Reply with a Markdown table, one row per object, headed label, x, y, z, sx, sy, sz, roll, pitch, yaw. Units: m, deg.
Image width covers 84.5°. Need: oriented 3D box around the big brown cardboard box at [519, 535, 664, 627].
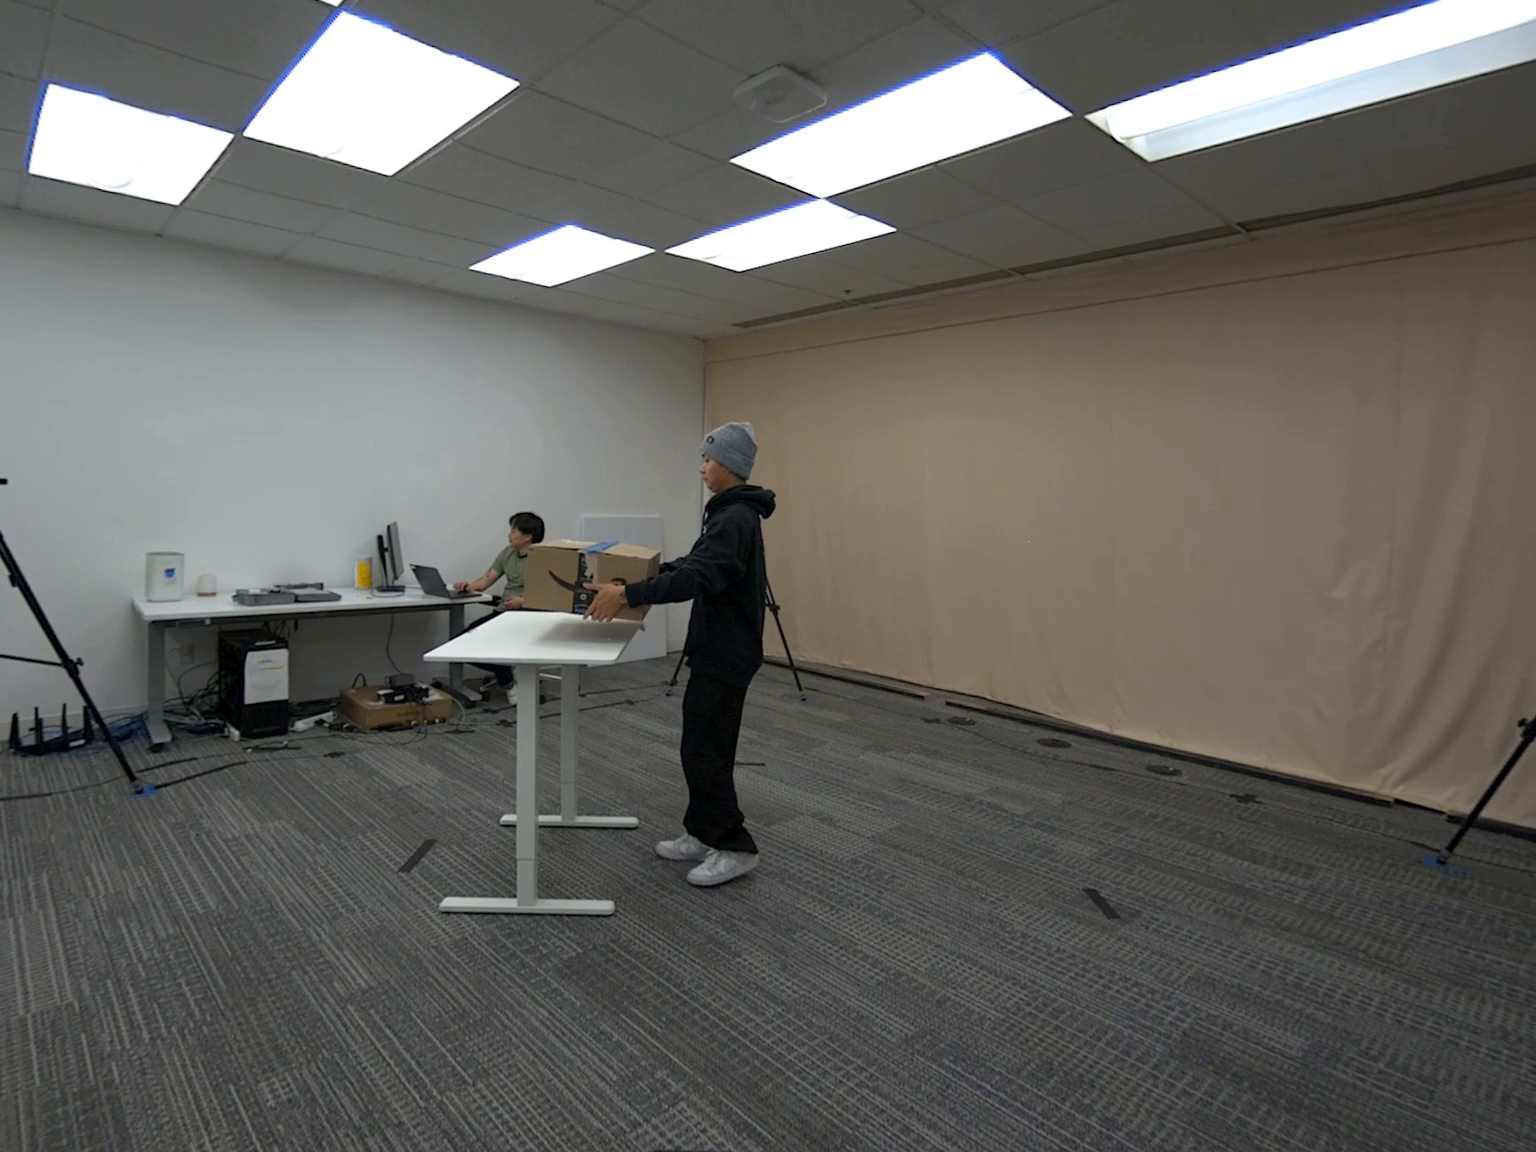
| label | x | y | z | sx | sy | sz | roll | pitch | yaw |
| --- | --- | --- | --- | --- | --- | --- | --- | --- | --- |
| big brown cardboard box | -0.632 | 0.001 | 3.142 | 0.417 | 0.232 | 0.591 | 6 | 5 | -2 |
